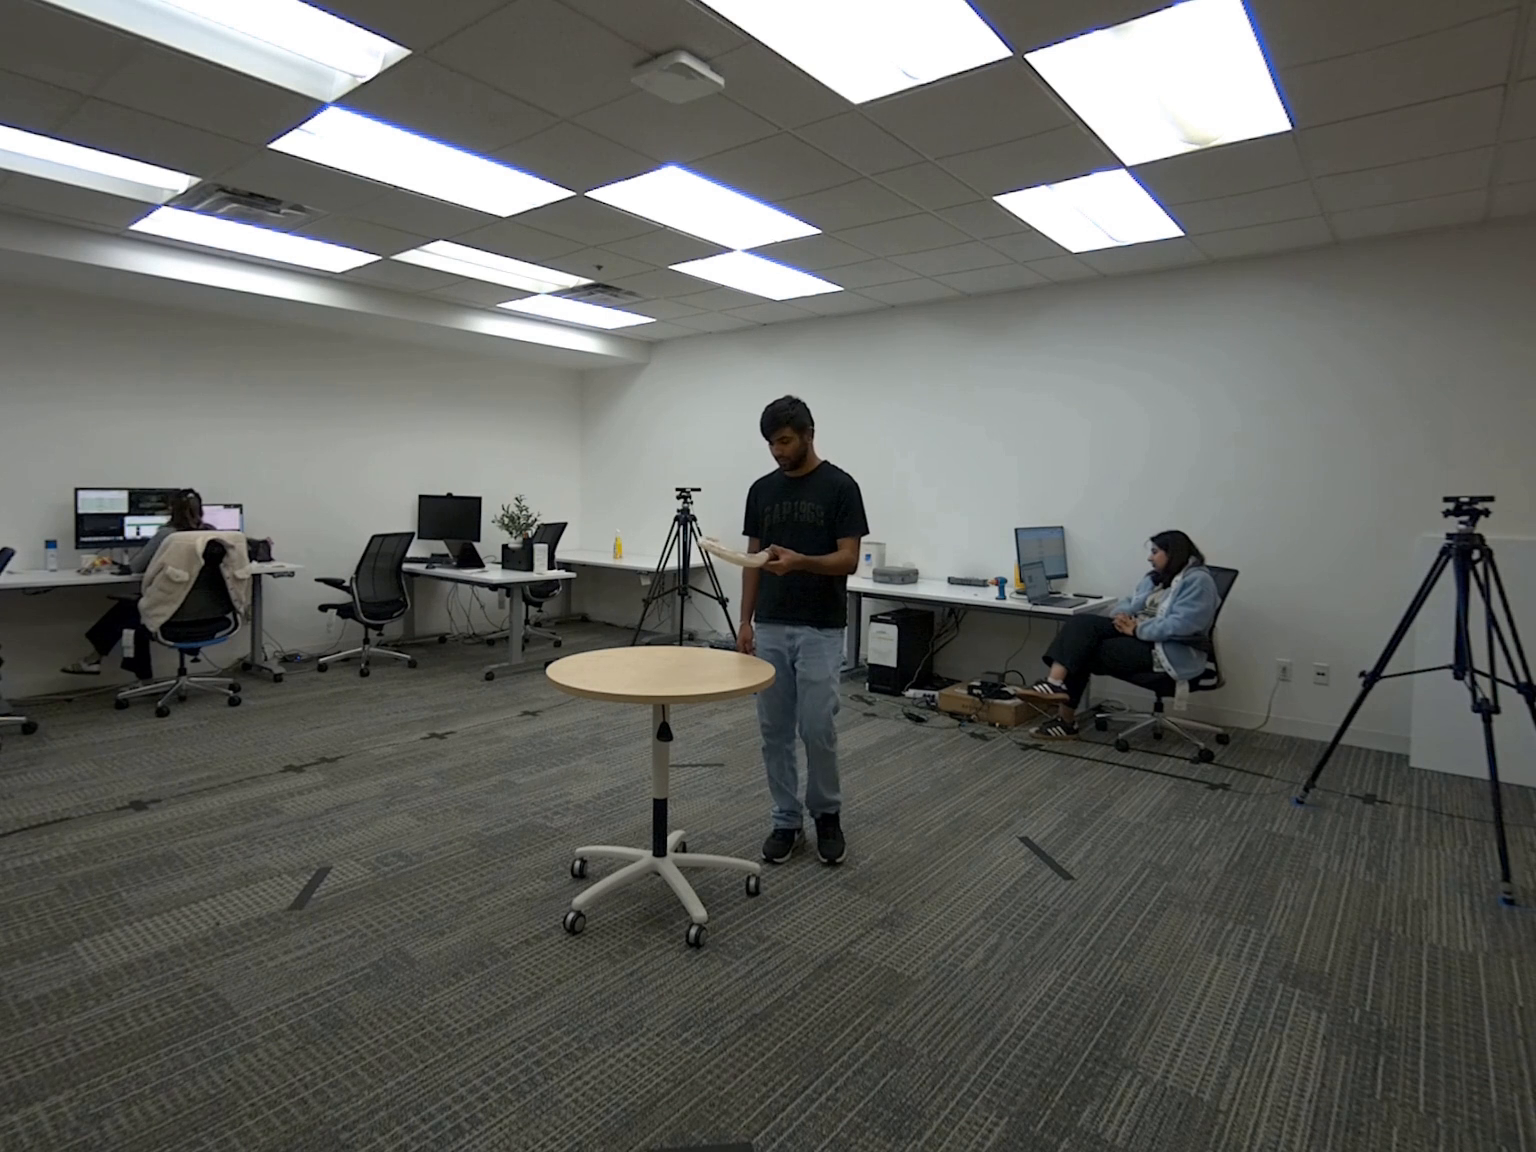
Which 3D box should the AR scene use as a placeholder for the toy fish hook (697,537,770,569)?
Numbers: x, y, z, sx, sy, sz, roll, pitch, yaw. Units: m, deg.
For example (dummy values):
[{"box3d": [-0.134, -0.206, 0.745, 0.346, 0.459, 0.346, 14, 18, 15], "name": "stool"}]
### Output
[{"box3d": [-0.088, -0.088, 2.852, 0.231, 0.048, 0.493, 30, 12, 22], "name": "toy fish hook"}]
